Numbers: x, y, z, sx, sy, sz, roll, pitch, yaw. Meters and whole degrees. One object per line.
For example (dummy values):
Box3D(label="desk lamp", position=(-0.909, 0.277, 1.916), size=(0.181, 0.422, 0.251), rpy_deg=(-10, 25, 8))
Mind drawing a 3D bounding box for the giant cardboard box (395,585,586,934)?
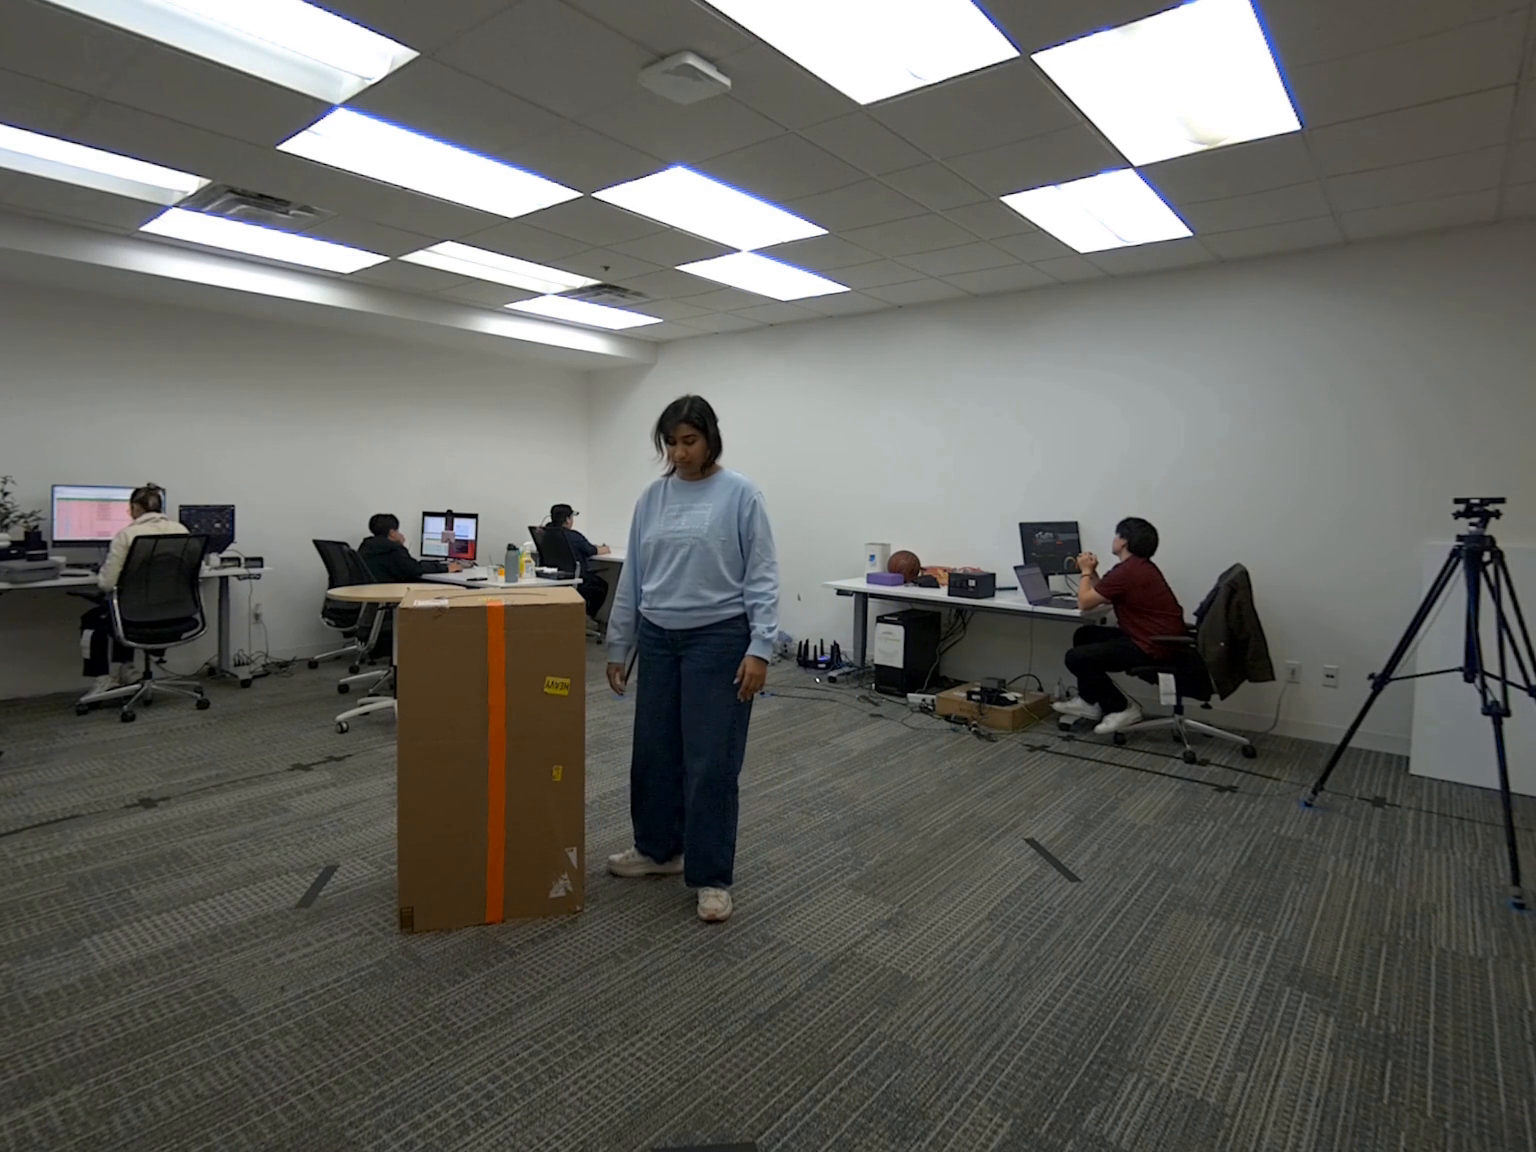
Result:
Box3D(label="giant cardboard box", position=(-0.943, 0.571, 2.873), size=(0.574, 1.023, 0.456), rpy_deg=(0, 4, -17))
